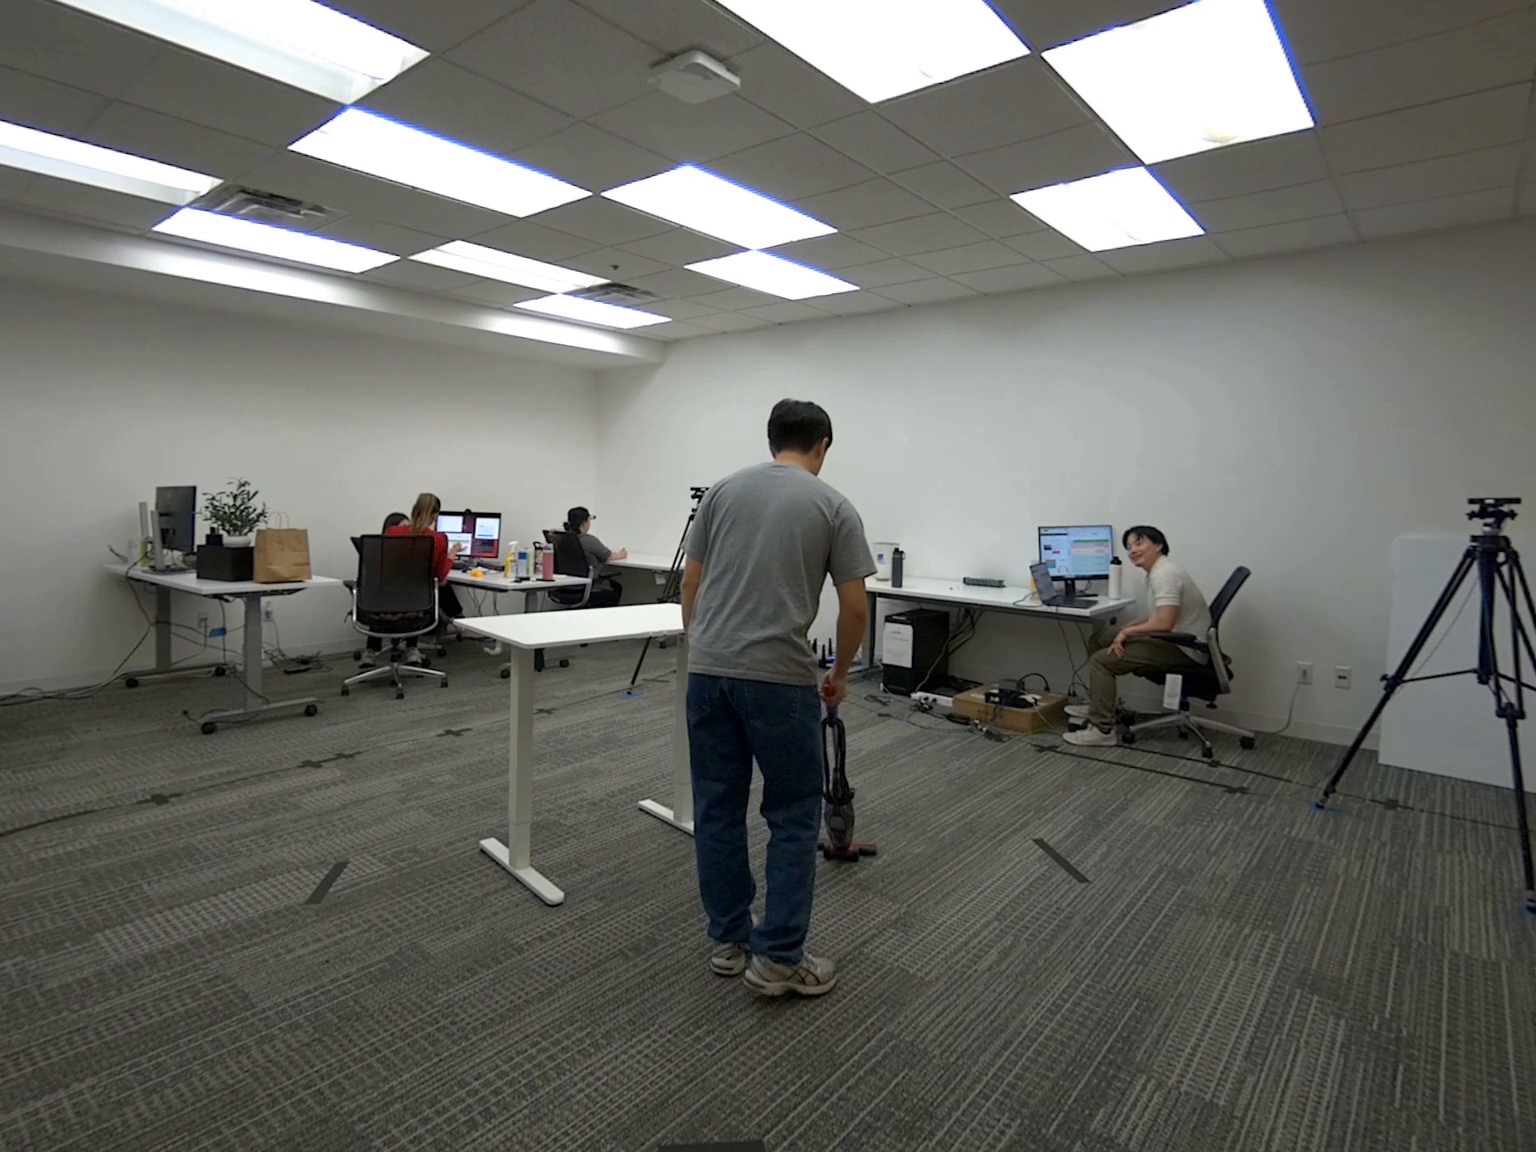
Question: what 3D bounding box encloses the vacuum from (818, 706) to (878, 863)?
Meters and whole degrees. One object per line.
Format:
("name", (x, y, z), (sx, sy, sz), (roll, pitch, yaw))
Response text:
("vacuum", (0.223, 0.699, 2.913), (0.257, 1.014, 0.146), (6, 47, 15))
